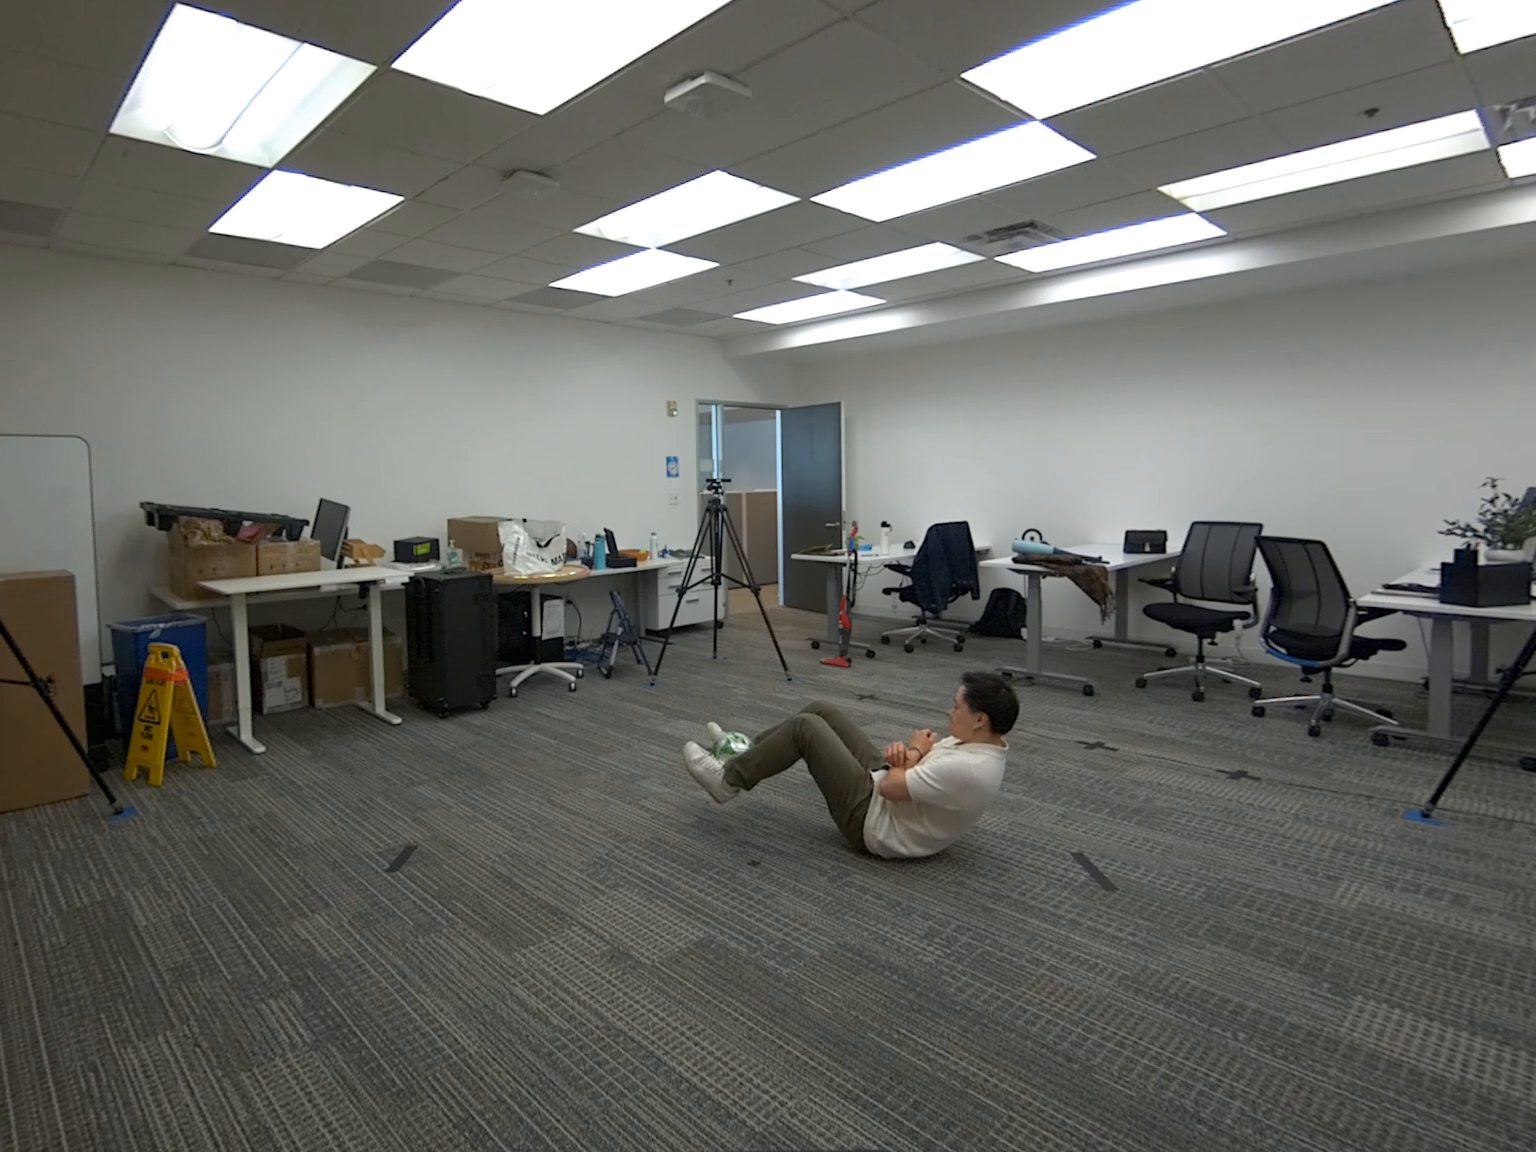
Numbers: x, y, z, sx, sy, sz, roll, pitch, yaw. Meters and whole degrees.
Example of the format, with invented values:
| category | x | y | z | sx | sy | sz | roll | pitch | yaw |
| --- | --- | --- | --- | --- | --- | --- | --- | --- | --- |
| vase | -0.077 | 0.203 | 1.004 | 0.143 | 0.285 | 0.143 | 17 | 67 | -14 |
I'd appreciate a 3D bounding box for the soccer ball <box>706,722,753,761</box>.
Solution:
| category | x | y | z | sx | sy | sz | roll | pitch | yaw |
| --- | --- | --- | --- | --- | --- | --- | --- | --- | --- |
| soccer ball | -0.124 | 0.732 | 3.485 | 0.187 | 0.187 | 0.188 | -1 | 5 | -2 |
